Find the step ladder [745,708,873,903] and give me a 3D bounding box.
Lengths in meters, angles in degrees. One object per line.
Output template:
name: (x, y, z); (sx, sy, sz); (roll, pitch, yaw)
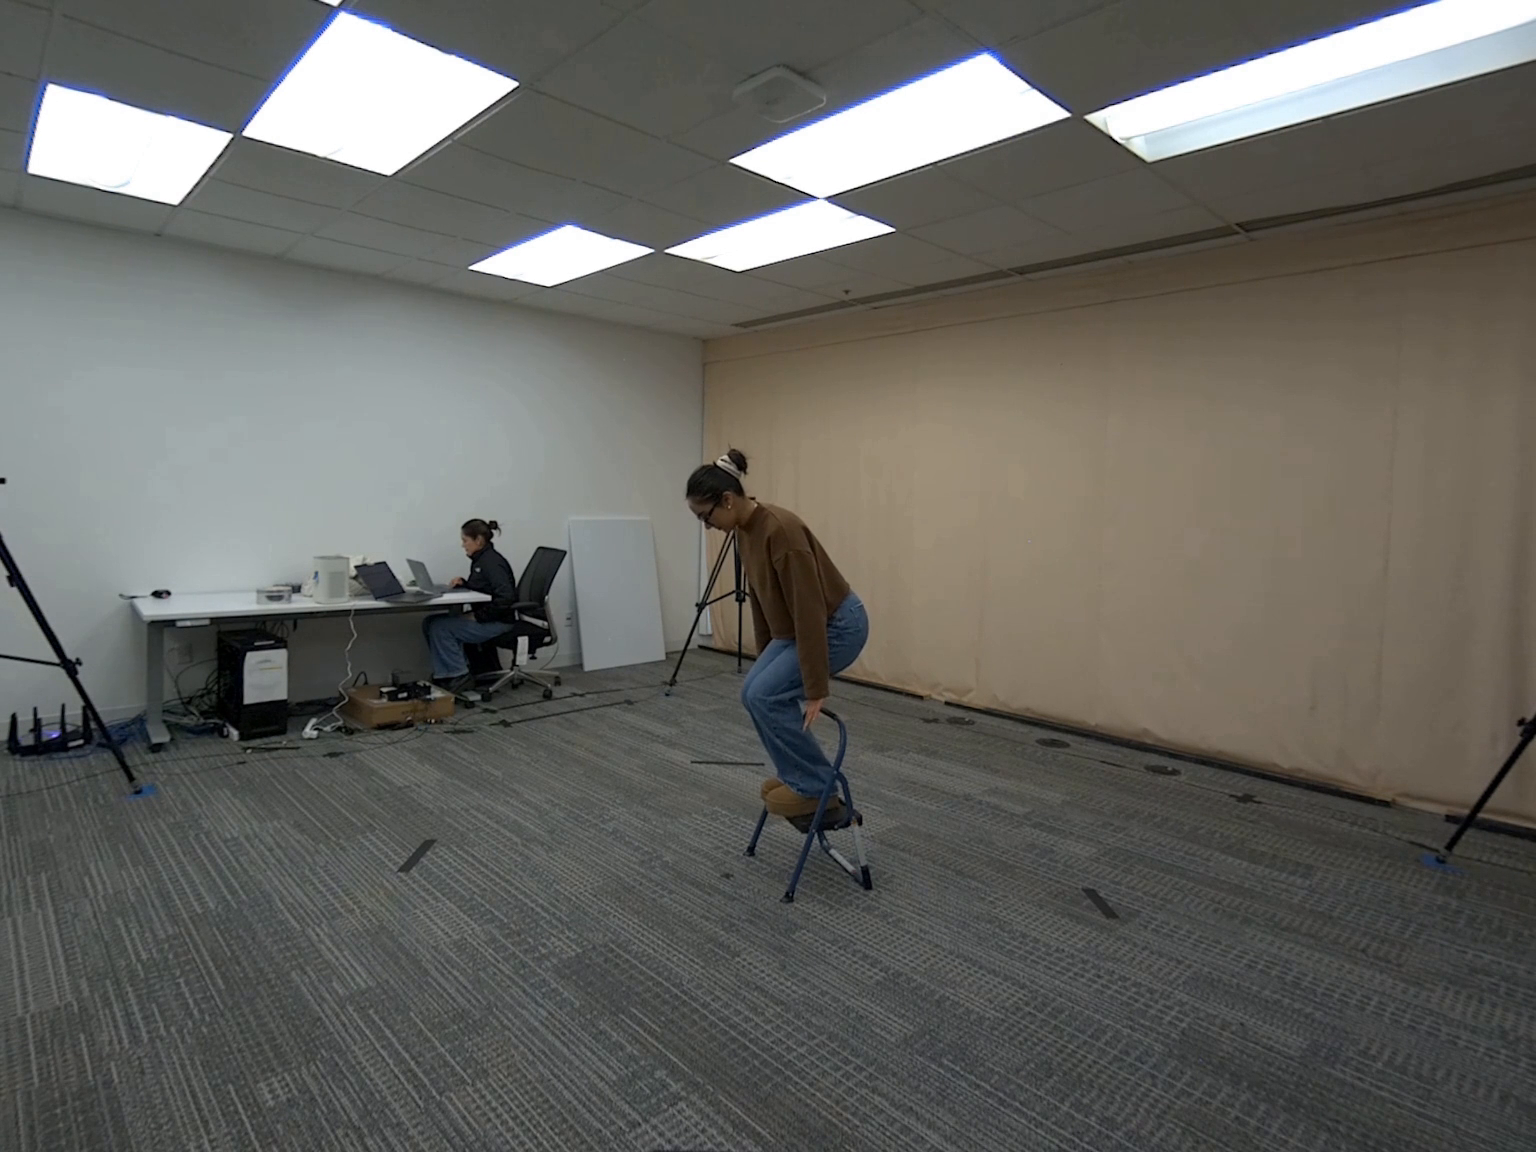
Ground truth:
step ladder: (0.145, 0.812, 3.139); (0.344, 0.605, 0.438); (0, 4, -21)
